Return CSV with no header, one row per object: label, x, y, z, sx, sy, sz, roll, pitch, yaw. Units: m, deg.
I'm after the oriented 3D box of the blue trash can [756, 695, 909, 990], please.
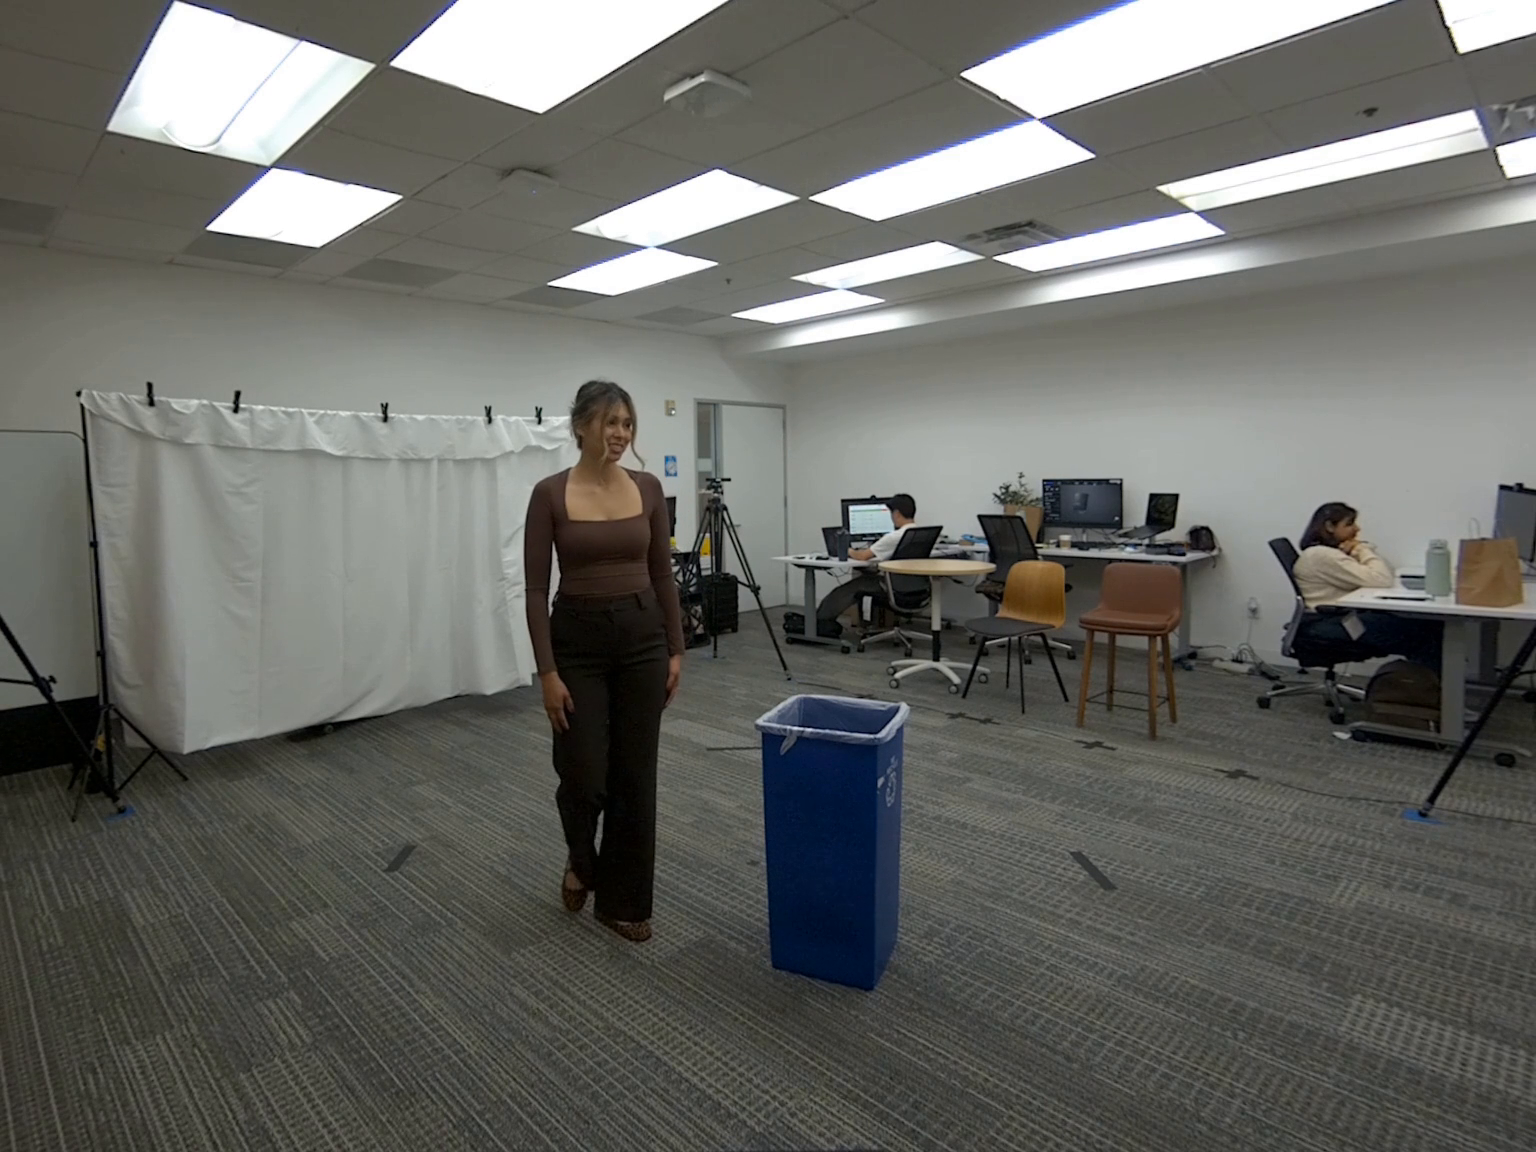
blue trash can,0.196,0.747,2.501,0.386,0.711,0.367,1,5,23
